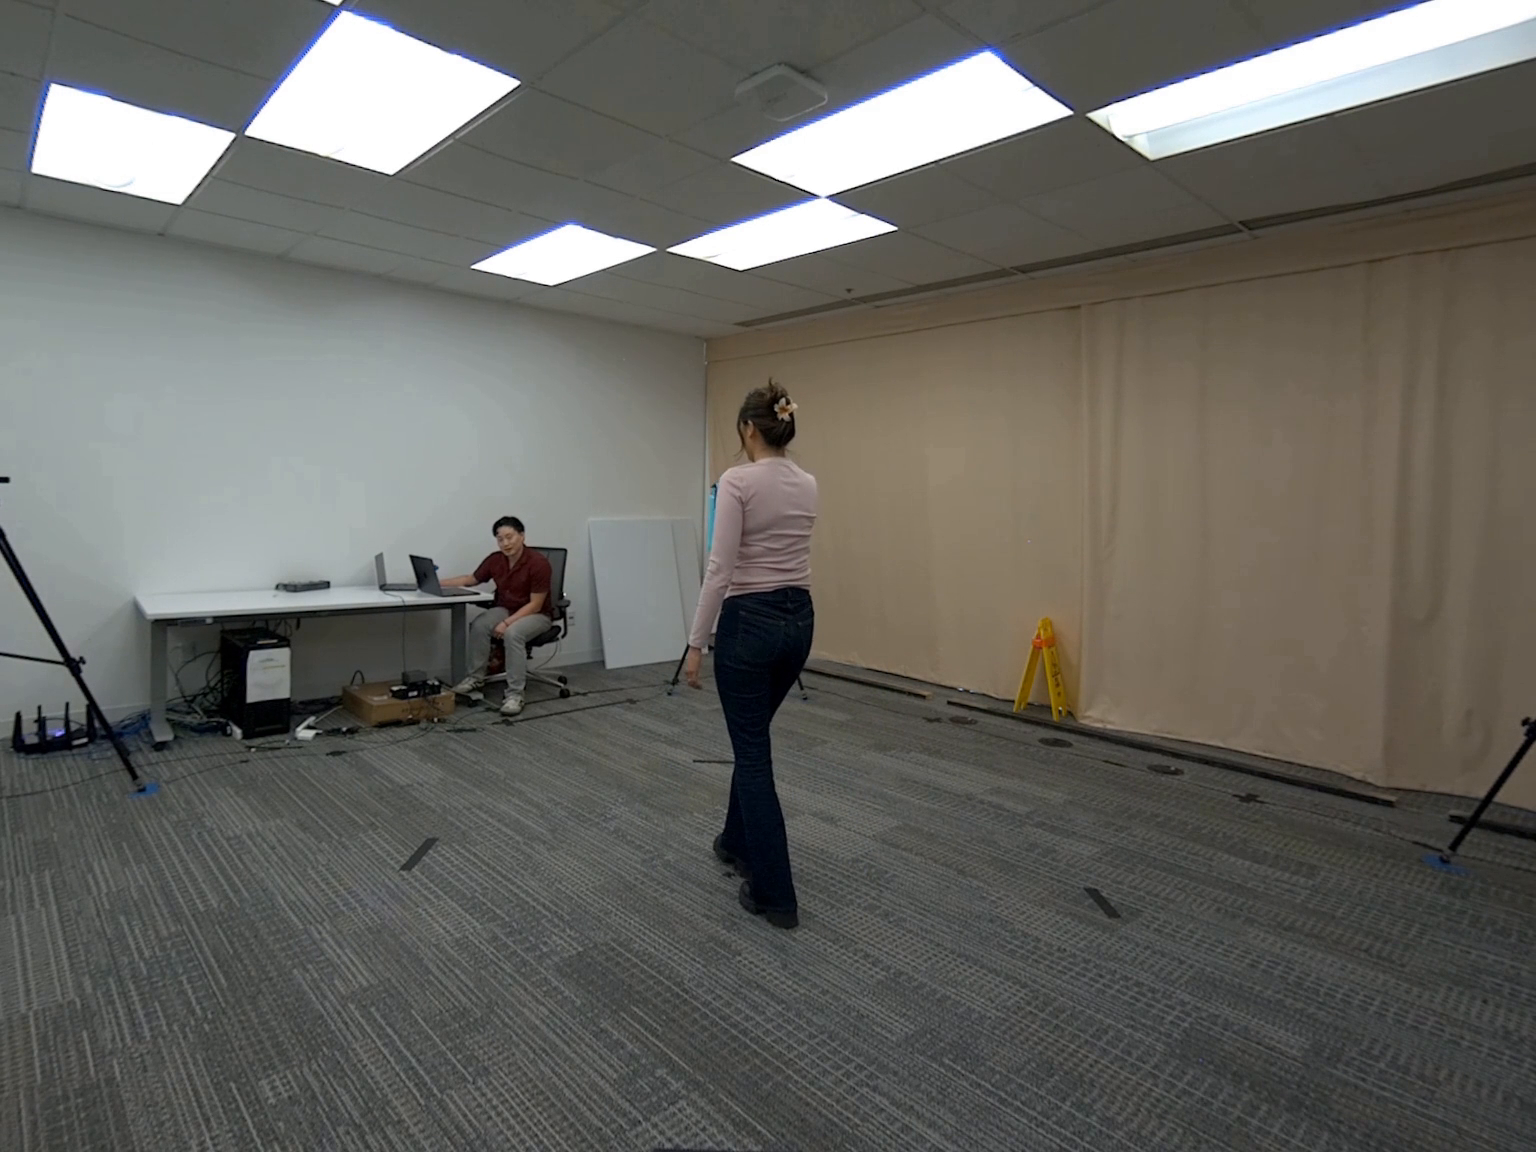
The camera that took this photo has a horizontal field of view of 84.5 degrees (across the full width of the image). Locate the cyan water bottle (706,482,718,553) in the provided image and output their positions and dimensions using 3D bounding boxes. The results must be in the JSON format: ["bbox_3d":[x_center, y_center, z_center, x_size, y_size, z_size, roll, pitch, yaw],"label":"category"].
[{"bbox_3d":[-0.200,-0.243,3.390,0.092,0.282,0.093,4,8,-2],"label":"cyan water bottle"}]
